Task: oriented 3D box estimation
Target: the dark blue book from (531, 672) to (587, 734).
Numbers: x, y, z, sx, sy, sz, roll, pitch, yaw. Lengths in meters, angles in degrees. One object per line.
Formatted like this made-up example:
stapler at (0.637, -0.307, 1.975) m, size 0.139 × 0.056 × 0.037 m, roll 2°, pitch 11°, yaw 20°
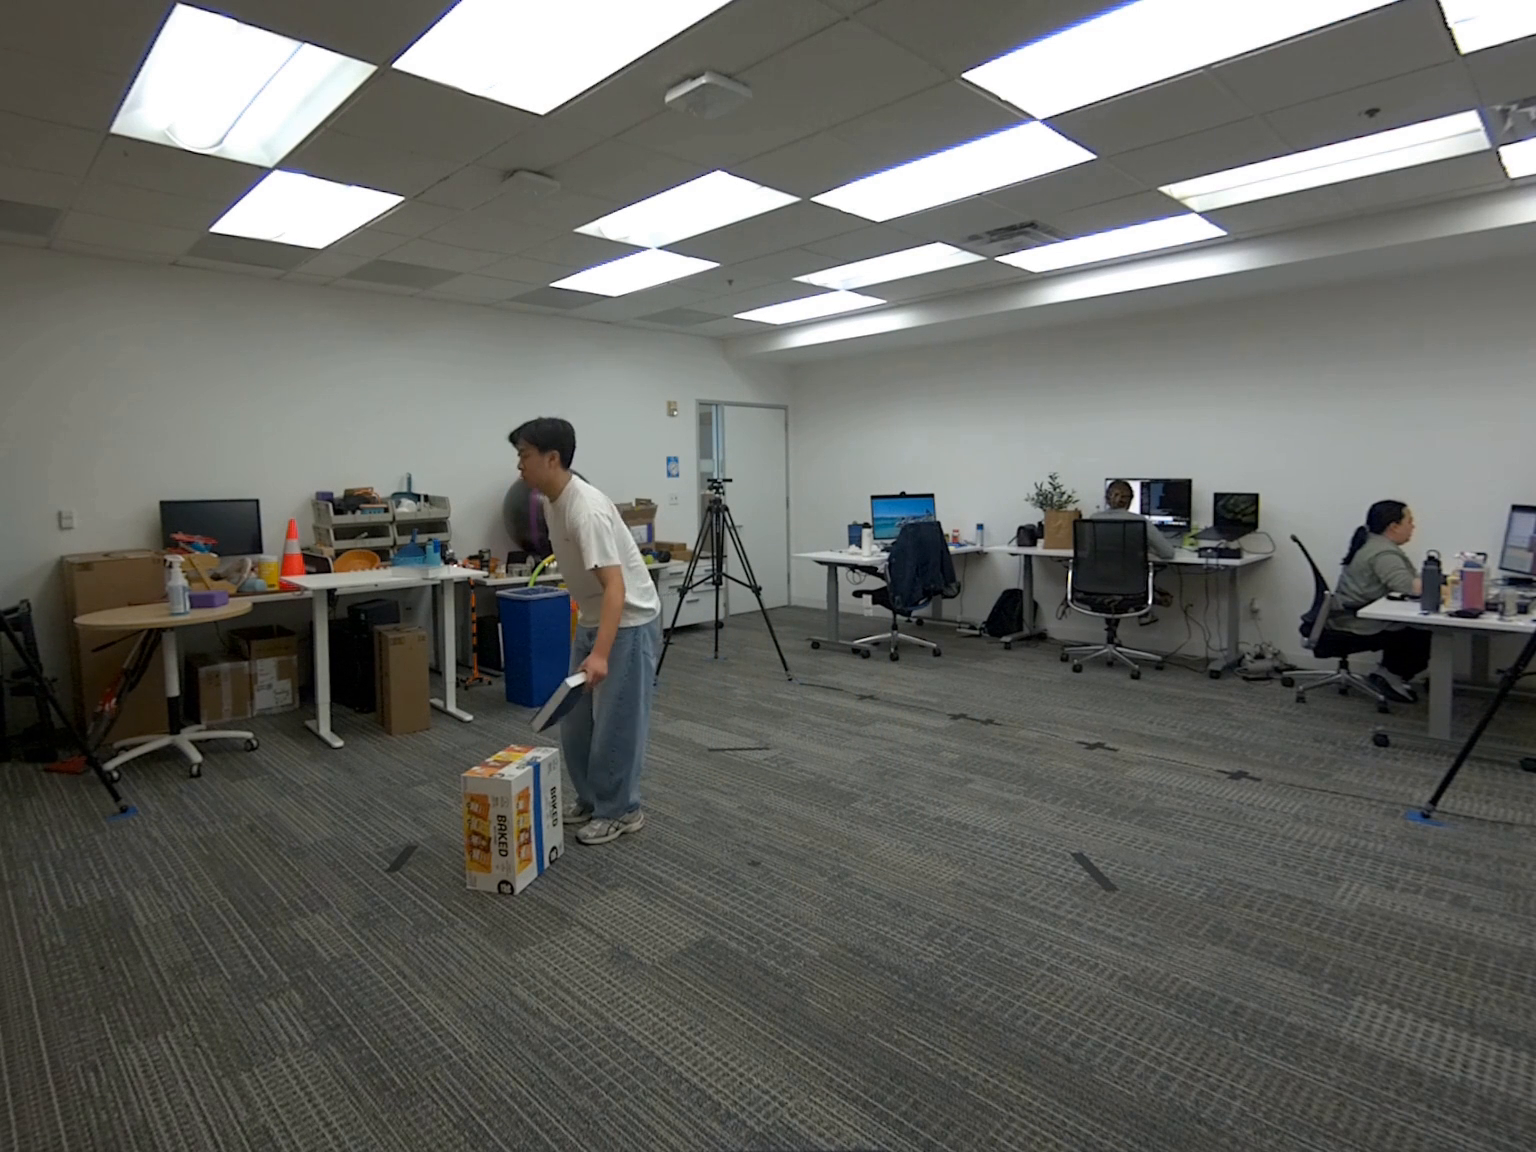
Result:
dark blue book at (-0.712, 0.438, 2.973) m, size 0.046 × 0.244 × 0.161 m, roll 43°, pitch 21°, yaw 10°
